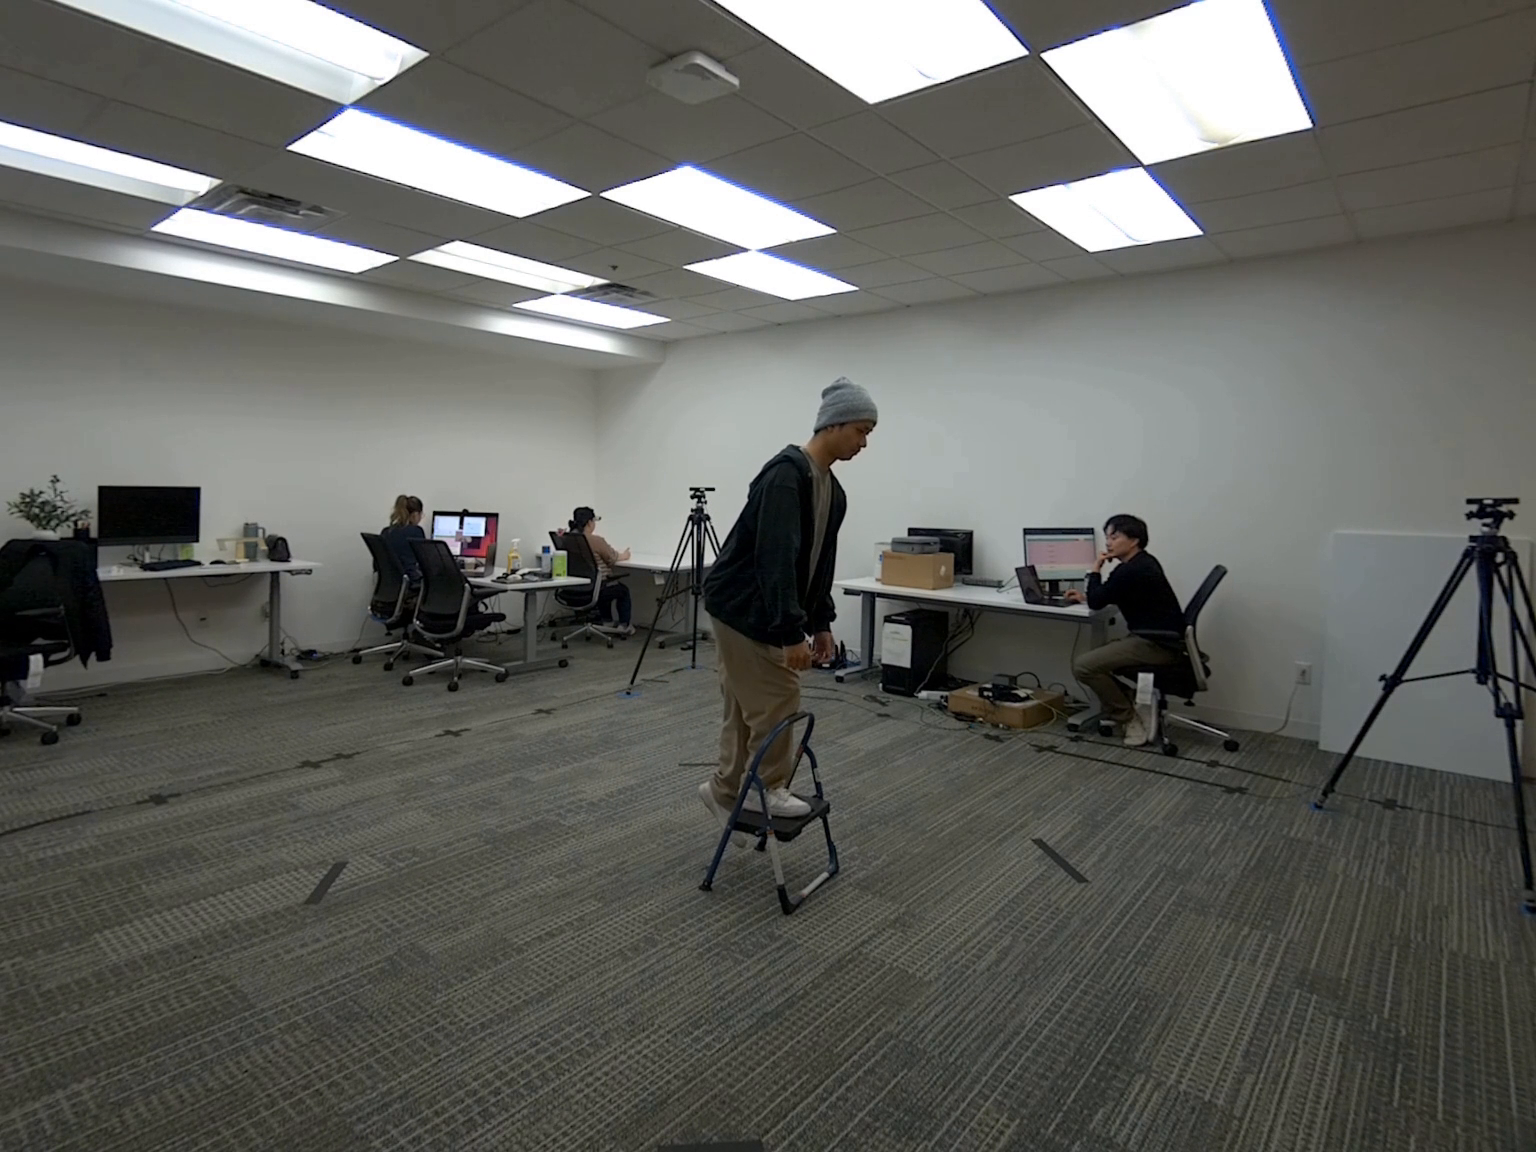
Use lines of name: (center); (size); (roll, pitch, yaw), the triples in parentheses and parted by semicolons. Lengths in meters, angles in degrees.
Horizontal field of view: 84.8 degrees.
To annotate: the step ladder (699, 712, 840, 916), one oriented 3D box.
step ladder: (0.017, 0.781, 3.016); (0.359, 0.604, 0.420); (3, 4, 29)
